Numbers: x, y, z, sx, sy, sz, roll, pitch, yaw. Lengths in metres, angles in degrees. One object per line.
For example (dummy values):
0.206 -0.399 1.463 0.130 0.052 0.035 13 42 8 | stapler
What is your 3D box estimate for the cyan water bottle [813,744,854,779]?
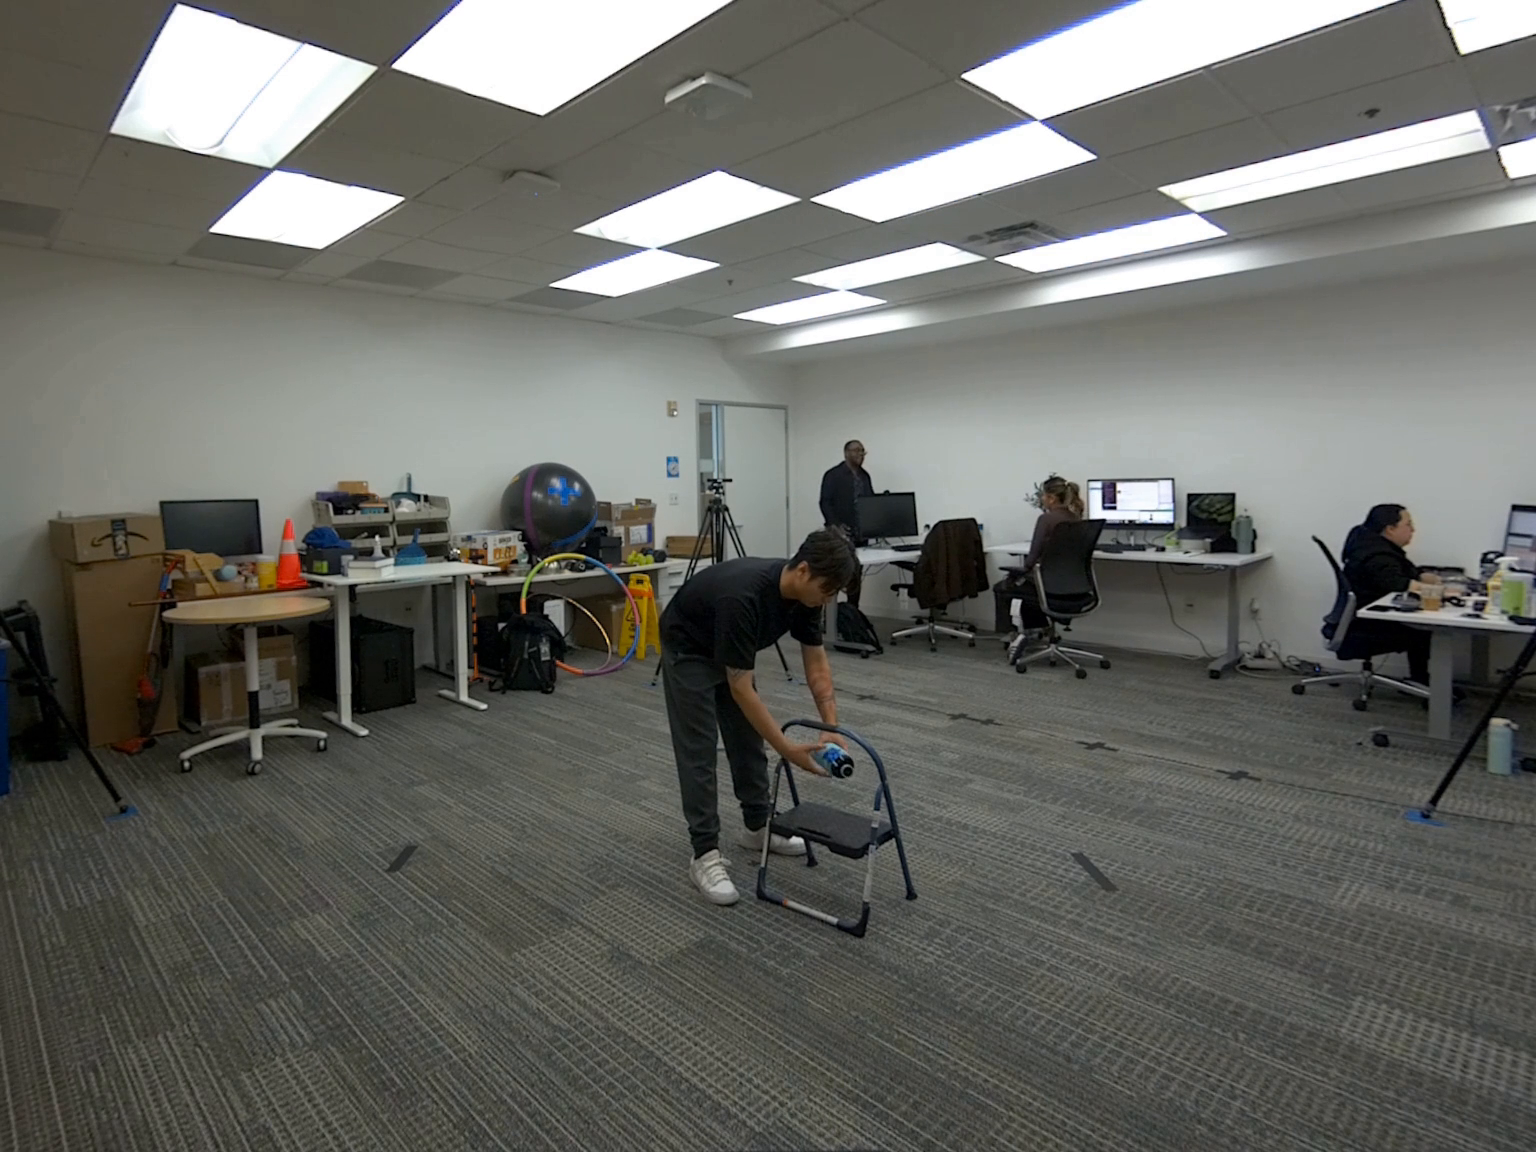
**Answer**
0.219 0.605 2.839 0.091 0.092 0.285 -2 -1 -10 | cyan water bottle
